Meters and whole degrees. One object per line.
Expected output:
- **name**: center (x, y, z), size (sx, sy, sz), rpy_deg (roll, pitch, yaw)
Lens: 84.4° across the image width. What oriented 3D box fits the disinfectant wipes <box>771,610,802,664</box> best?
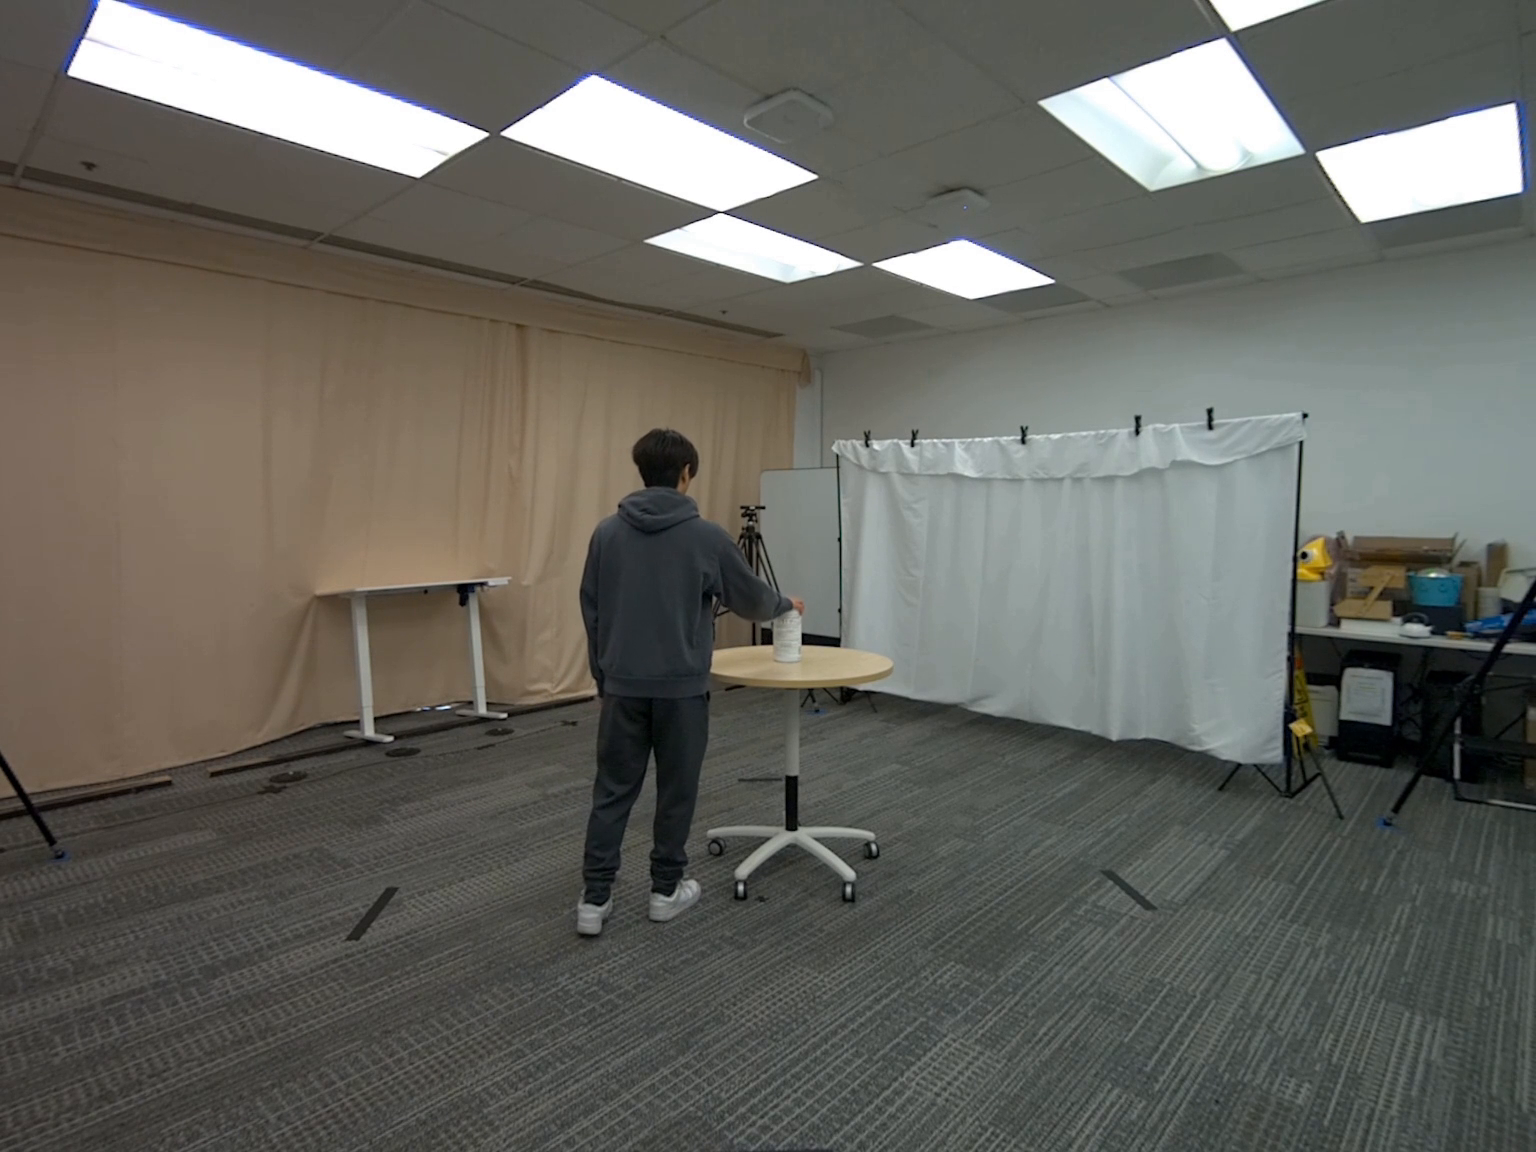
- **disinfectant wipes**: center (0.081, 0.220, 3.240), size (0.118, 0.217, 0.118), rpy_deg (0, 5, -2)
